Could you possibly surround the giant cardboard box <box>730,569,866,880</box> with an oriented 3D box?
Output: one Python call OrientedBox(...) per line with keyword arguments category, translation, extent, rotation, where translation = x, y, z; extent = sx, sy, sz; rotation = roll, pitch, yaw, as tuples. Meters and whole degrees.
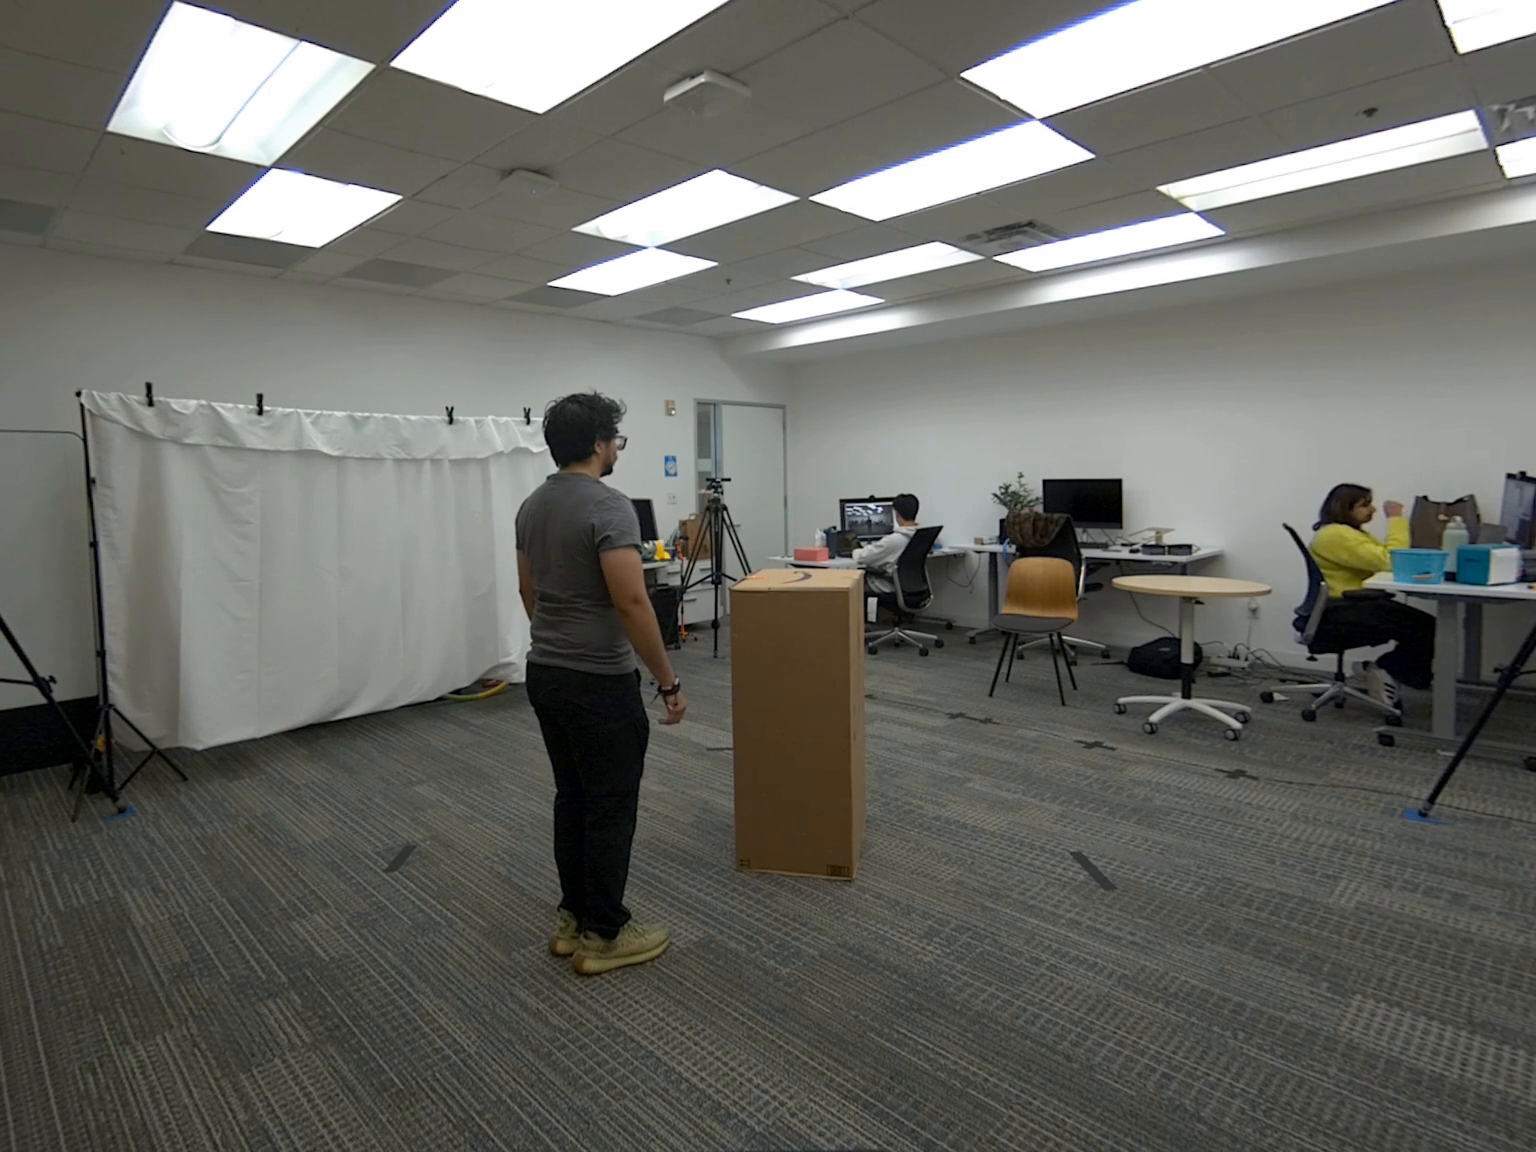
OrientedBox(category="giant cardboard box", translation=(0.128, 0.513, 3.238), extent=(0.432, 1.022, 0.572), rotation=(0, 5, 12))
